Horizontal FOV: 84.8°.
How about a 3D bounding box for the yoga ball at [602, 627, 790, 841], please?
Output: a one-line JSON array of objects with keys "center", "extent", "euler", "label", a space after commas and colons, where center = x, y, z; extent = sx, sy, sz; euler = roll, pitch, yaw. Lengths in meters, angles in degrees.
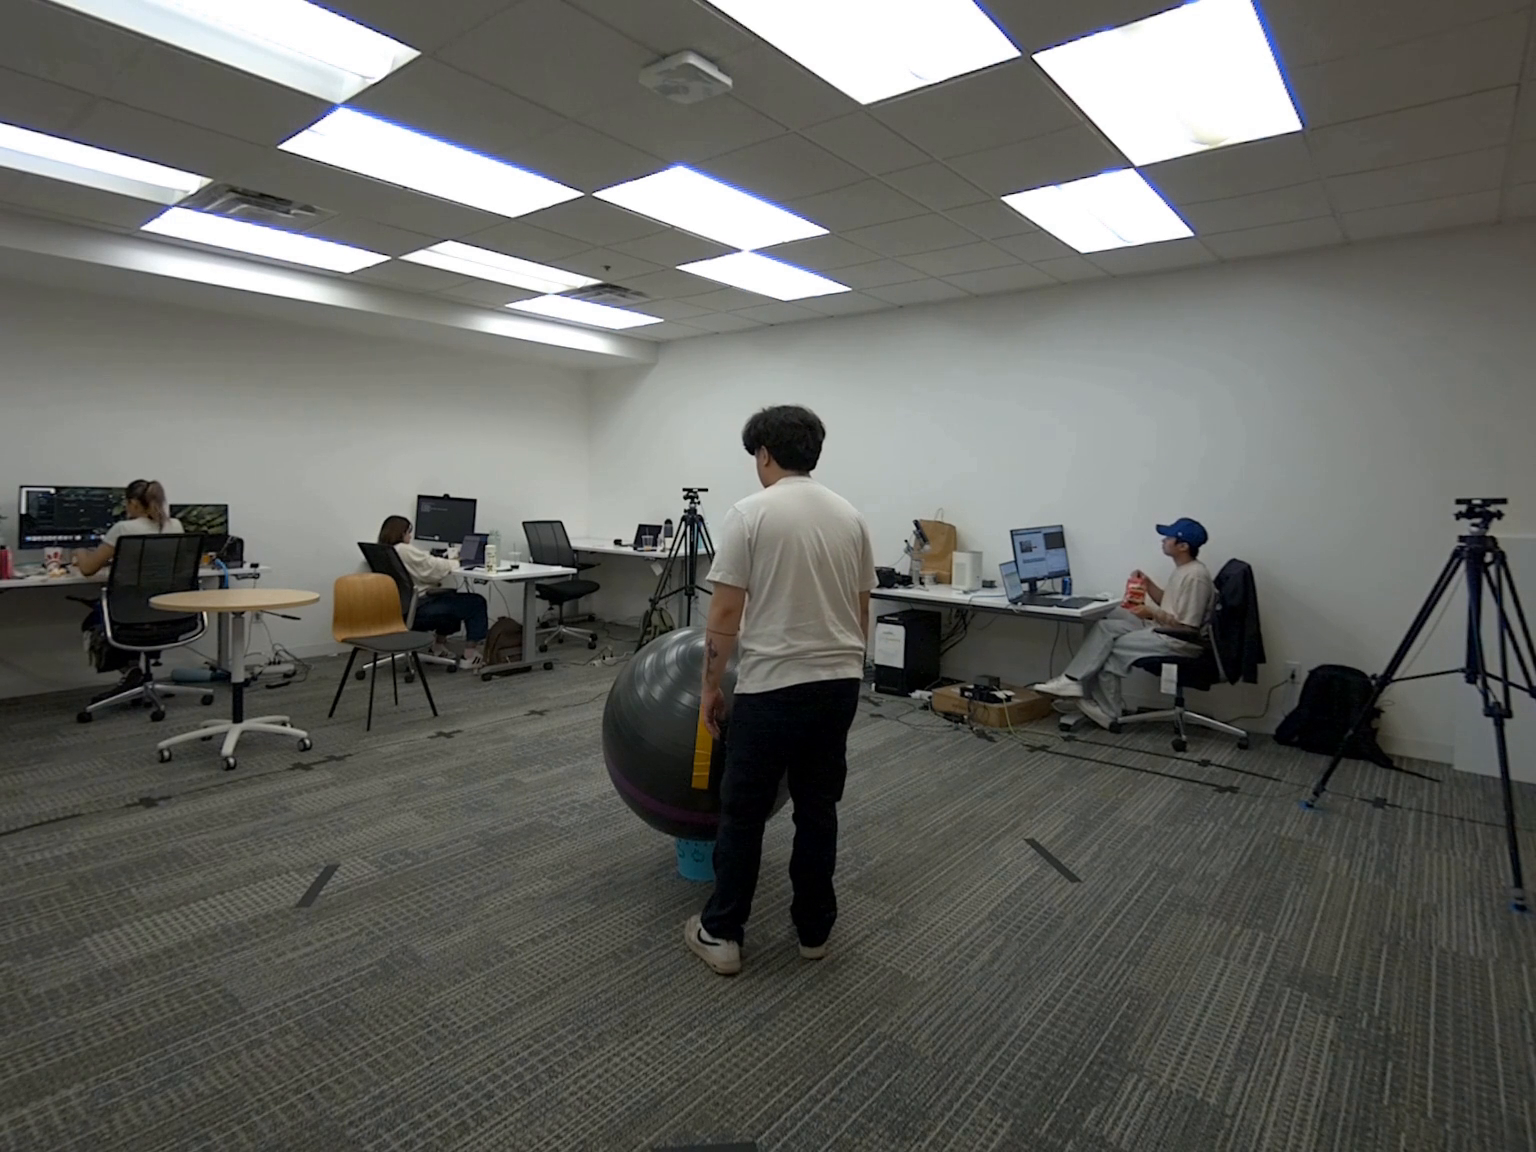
[{"center": [-0.228, 0.561, 3.088], "extent": [0.757, 0.756, 0.761], "euler": [1, 4, -2], "label": "yoga ball"}]
